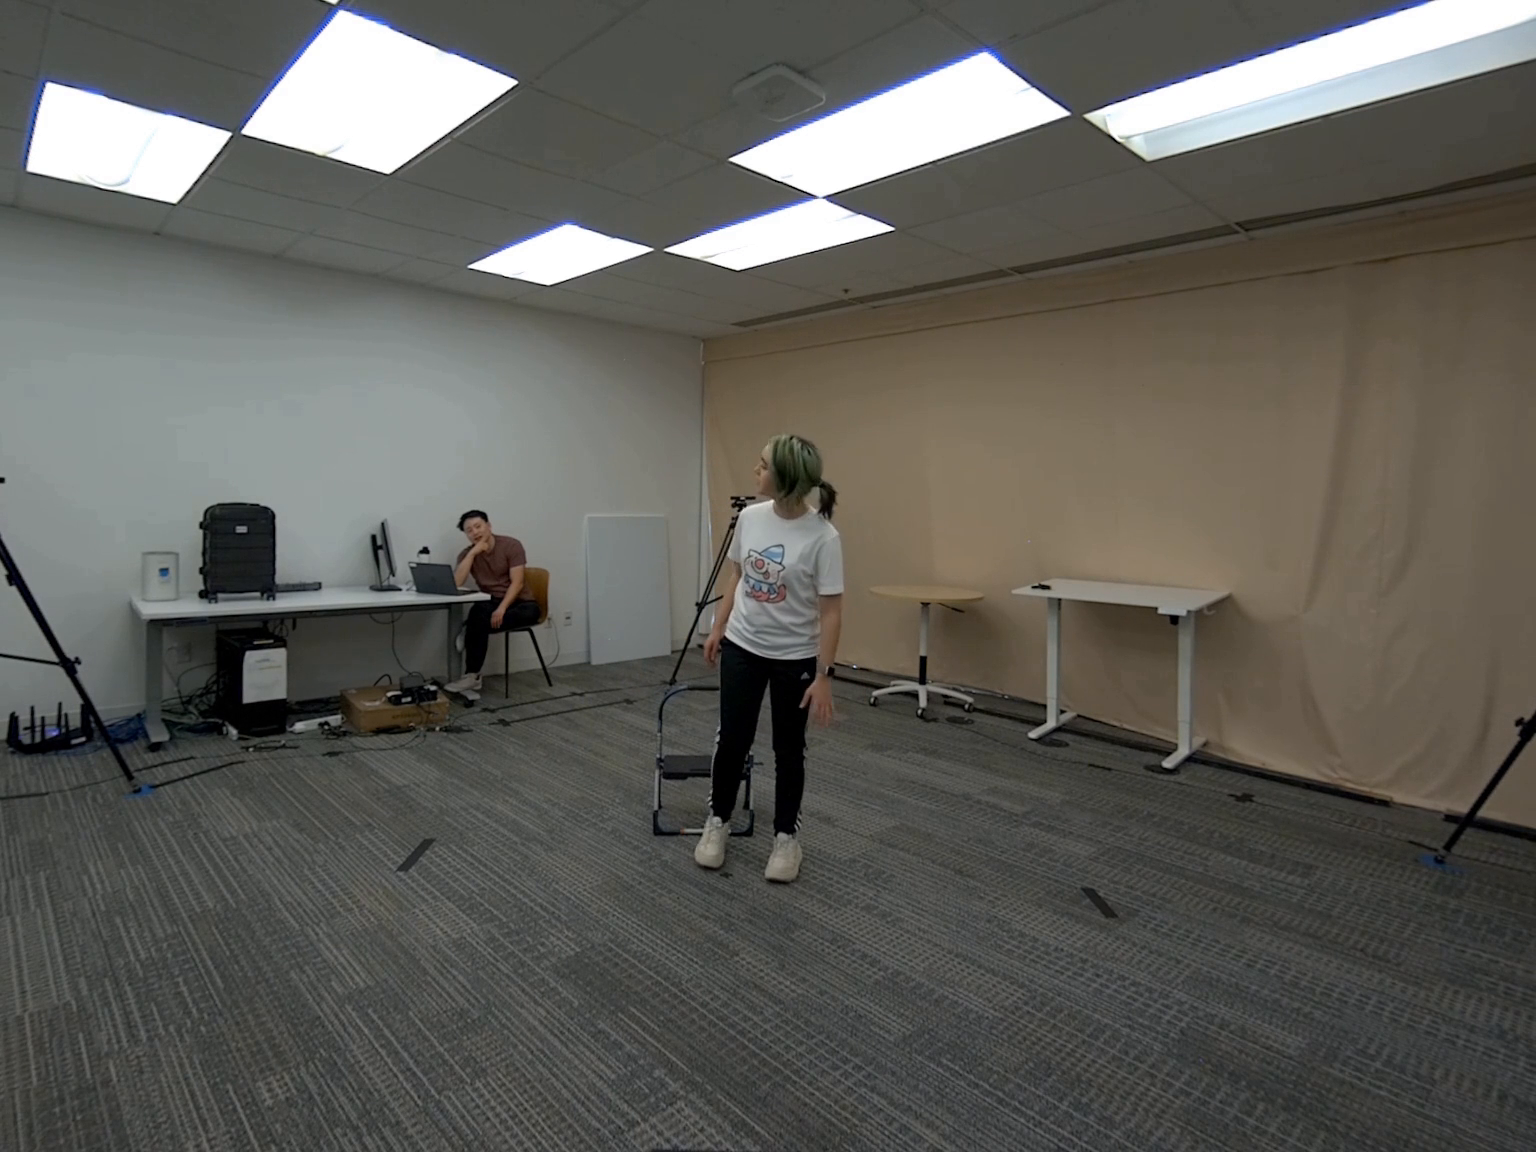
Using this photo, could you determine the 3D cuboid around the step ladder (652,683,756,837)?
[{"bbox_3d":[-0.283,0.755,3.614,0.429,0.605,0.351,1,3,-5],"label":"step ladder"}]
